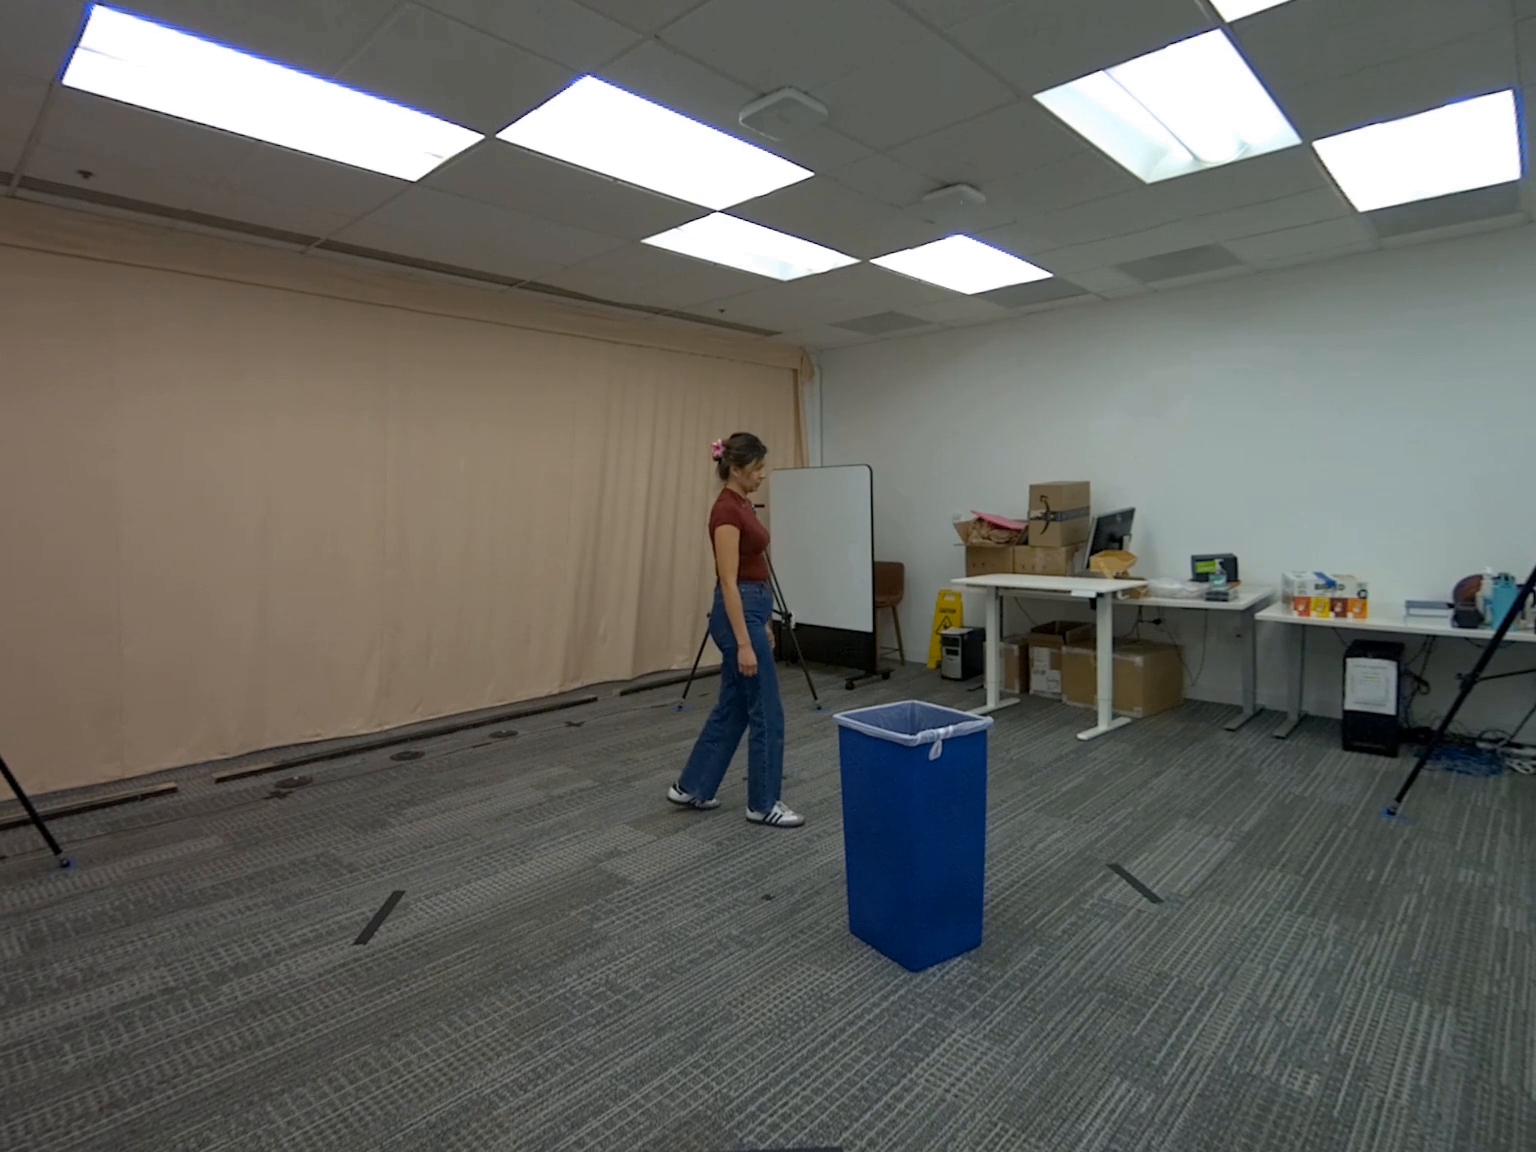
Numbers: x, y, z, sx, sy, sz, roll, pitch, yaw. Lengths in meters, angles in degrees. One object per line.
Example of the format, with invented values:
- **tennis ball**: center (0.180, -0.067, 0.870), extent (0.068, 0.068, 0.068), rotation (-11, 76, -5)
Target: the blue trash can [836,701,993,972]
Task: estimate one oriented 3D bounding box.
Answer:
- **blue trash can**: center (0.461, 0.799, 2.671), extent (0.367, 0.712, 0.385), rotation (-3, 4, -34)
